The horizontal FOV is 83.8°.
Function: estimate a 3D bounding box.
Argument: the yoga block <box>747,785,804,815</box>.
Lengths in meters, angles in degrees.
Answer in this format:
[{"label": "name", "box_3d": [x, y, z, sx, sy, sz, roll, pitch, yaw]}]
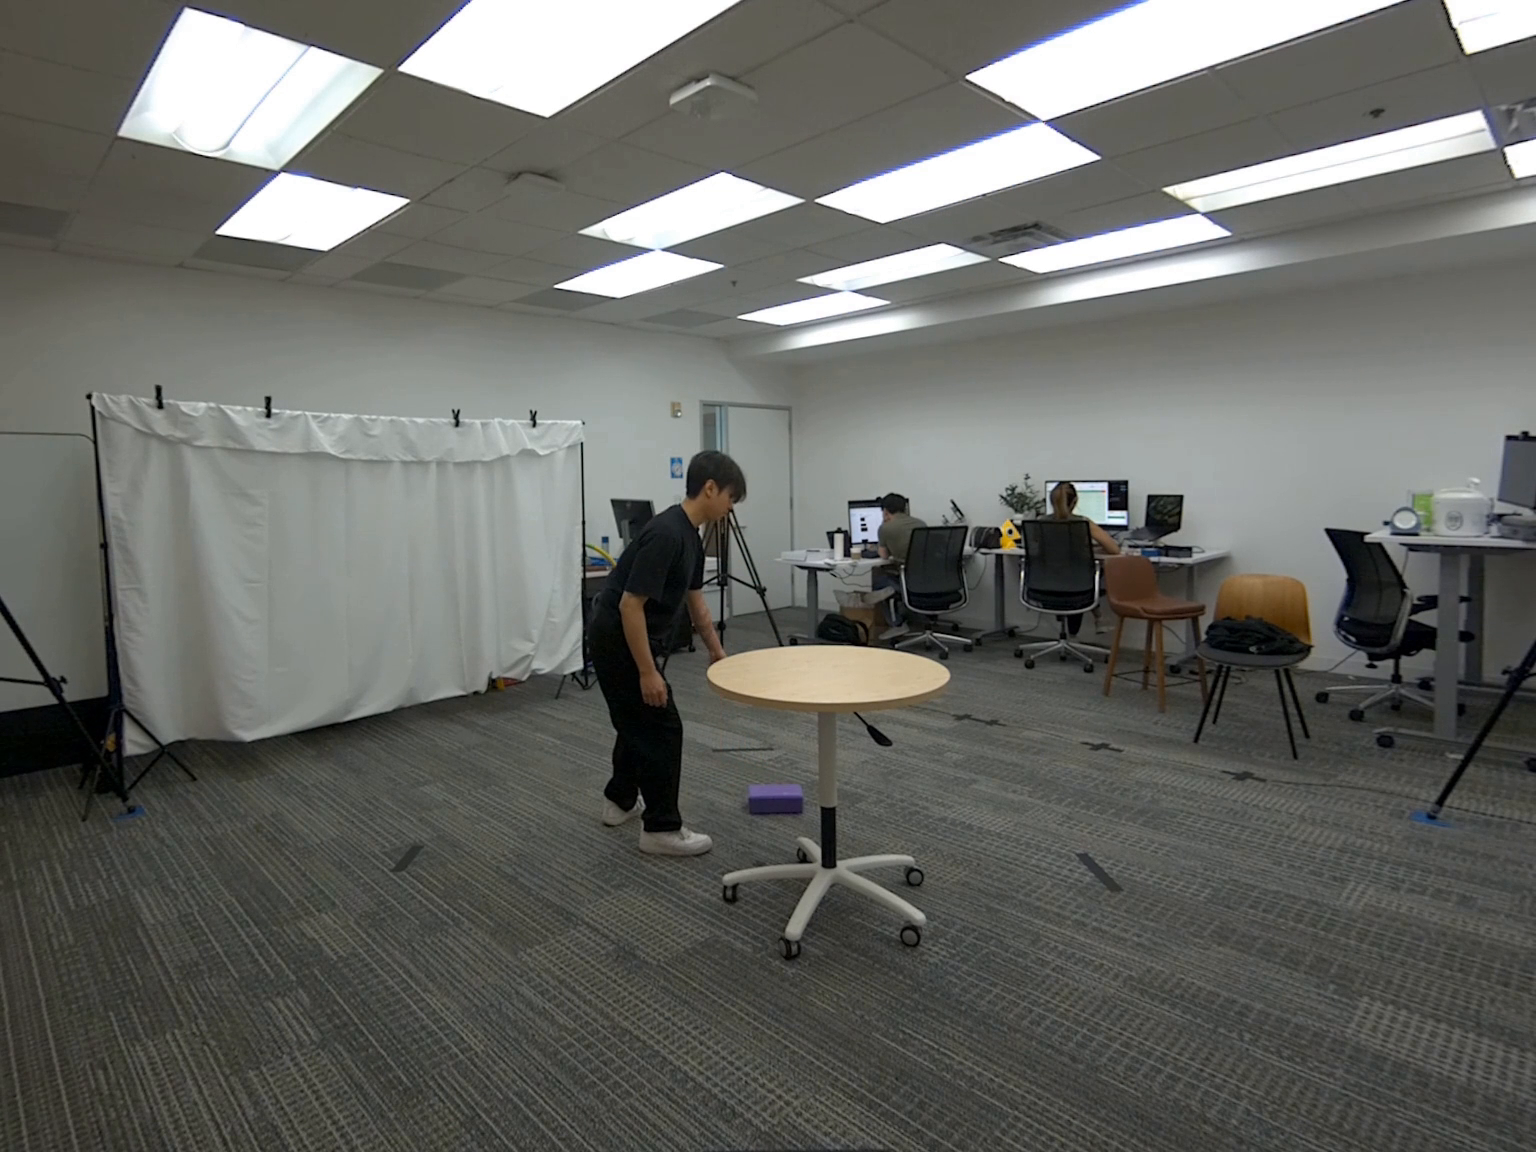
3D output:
[{"label": "yoga block", "box_3d": [0.033, 0.948, 3.639, 0.230, 0.076, 0.149, -1, 5, 1]}]
